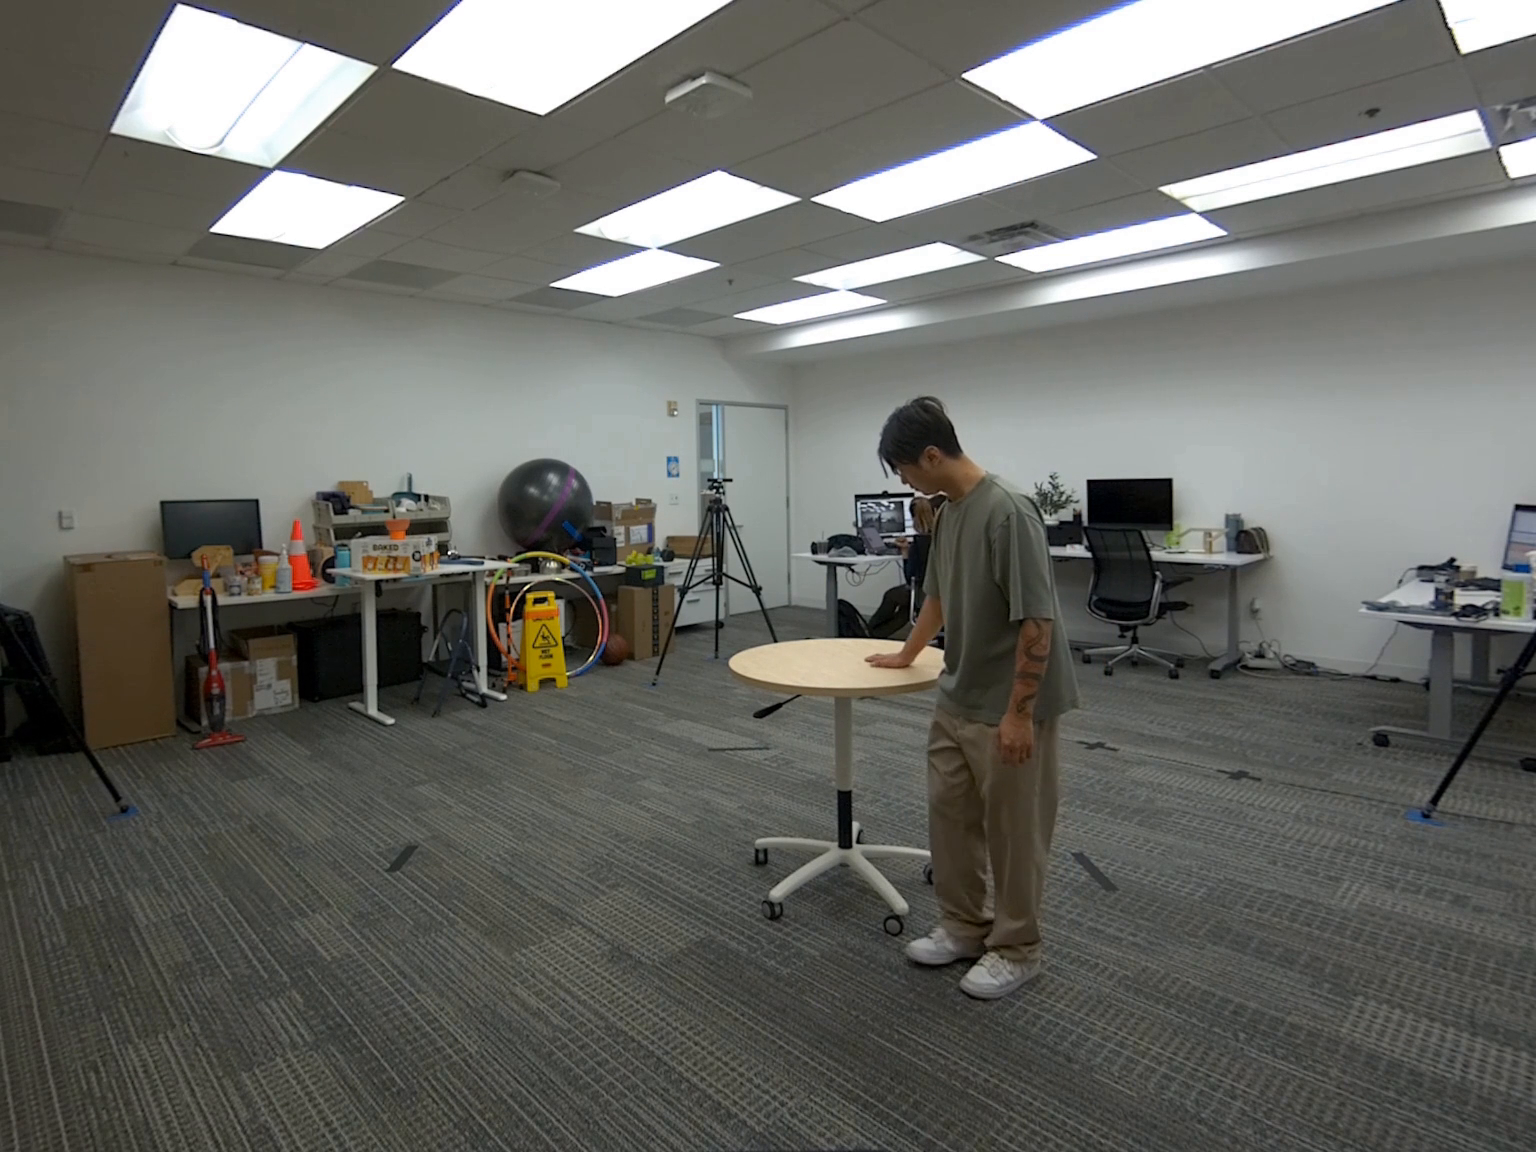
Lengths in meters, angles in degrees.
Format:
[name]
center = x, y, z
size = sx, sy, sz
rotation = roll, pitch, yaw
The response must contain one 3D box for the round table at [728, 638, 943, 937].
[round table]
center = 0.264, 0.676, 2.896
size = 0.763, 0.791, 0.768
rotation = -1, 5, -2
